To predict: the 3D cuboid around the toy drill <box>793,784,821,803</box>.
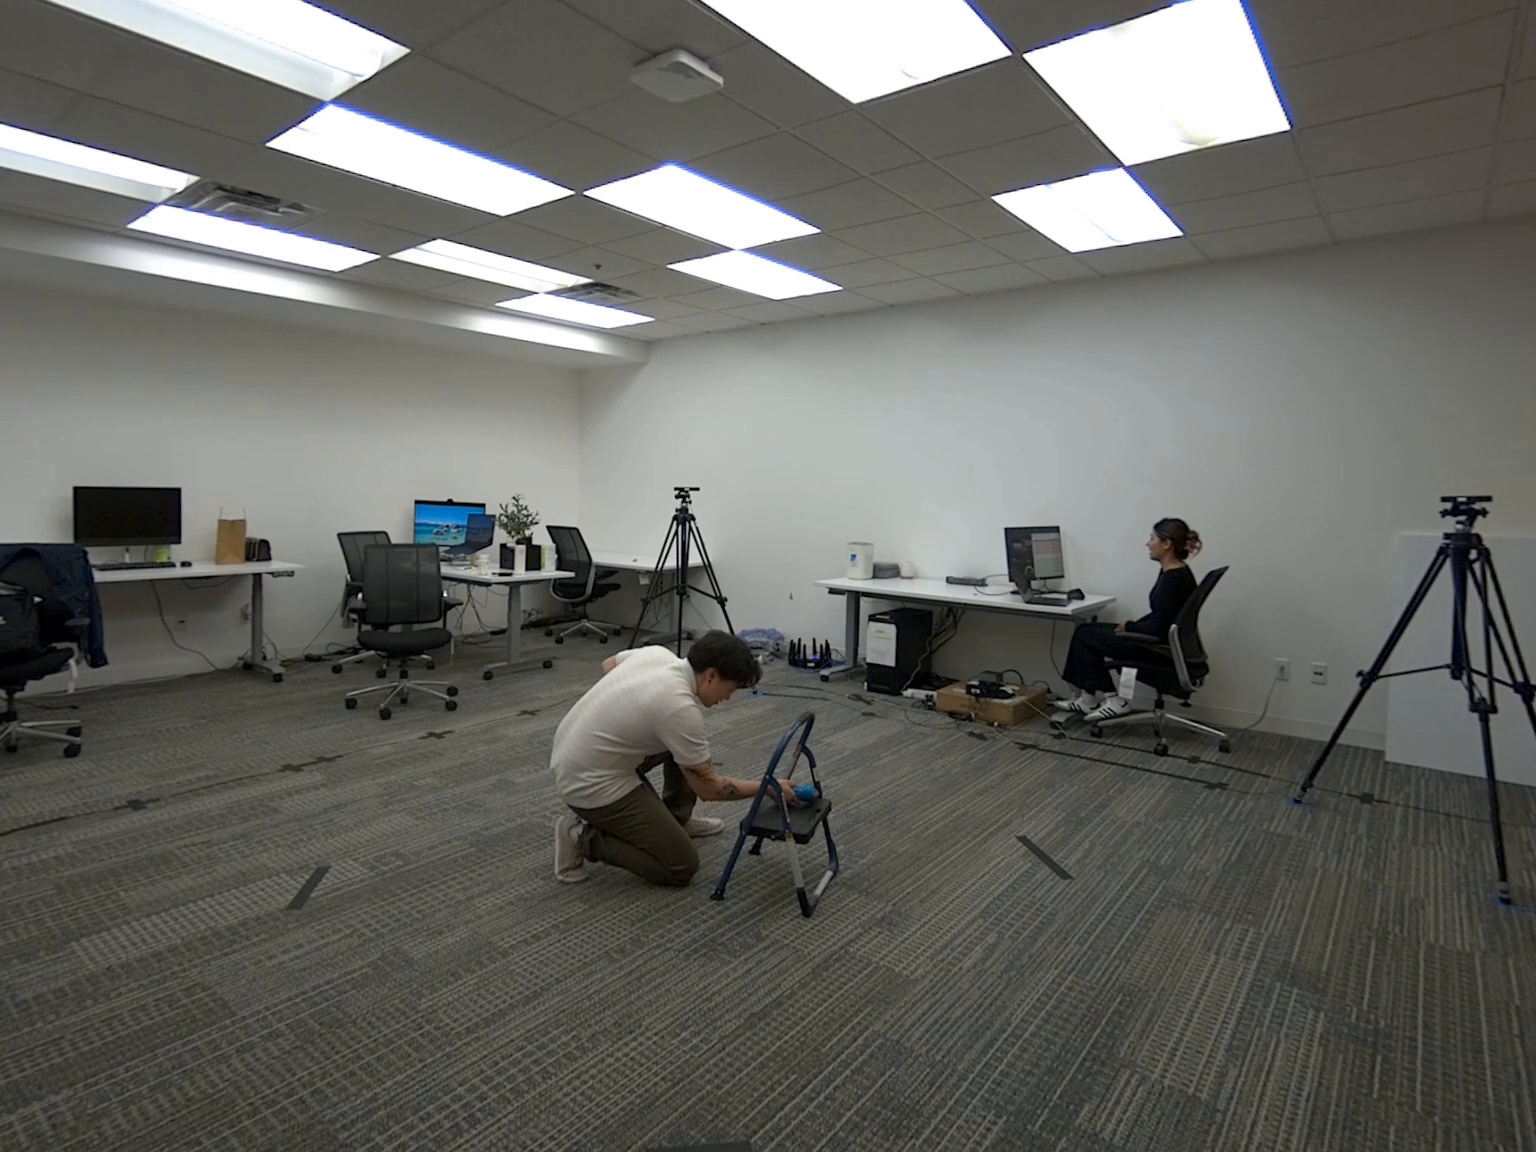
[{"bbox_3d":[0.102,0.784,3.089,0.150,0.062,0.163,-1,-14,31],"label":"toy drill"}]
